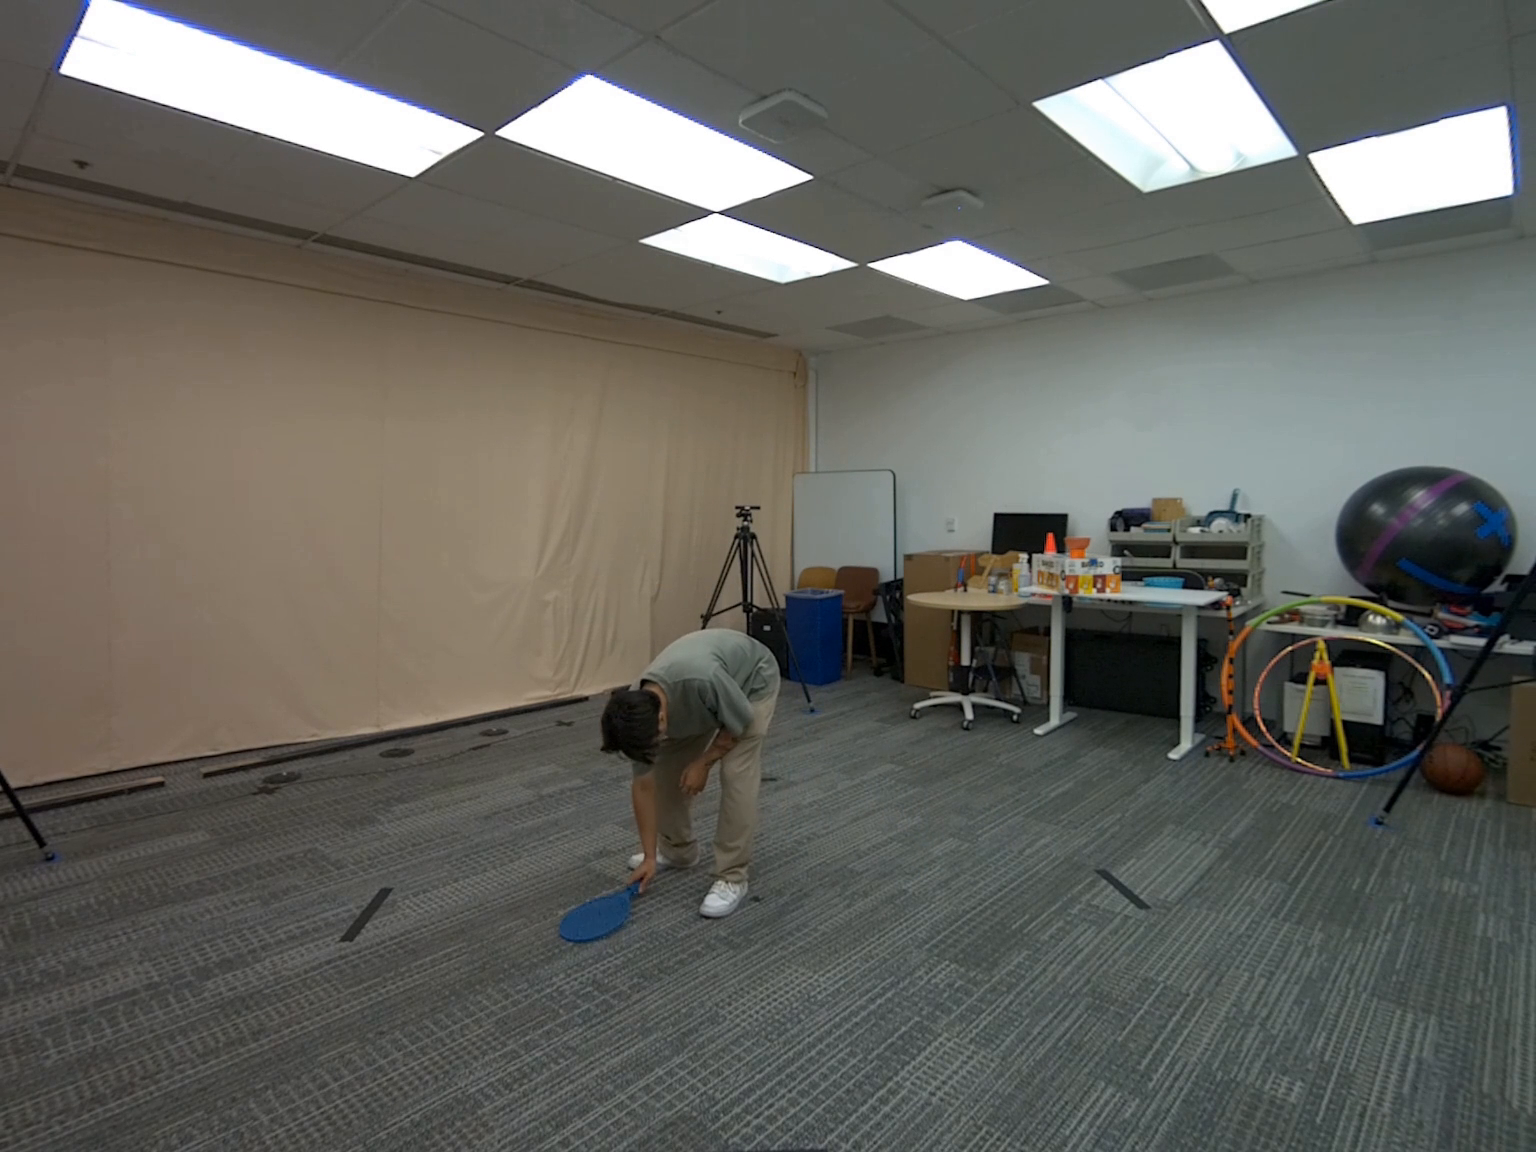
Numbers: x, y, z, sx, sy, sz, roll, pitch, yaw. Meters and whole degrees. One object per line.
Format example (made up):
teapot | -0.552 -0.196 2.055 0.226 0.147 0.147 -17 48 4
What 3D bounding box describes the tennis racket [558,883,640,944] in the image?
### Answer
tennis racket | -0.538 1.122 2.873 0.220 0.031 0.422 -1 9 33
